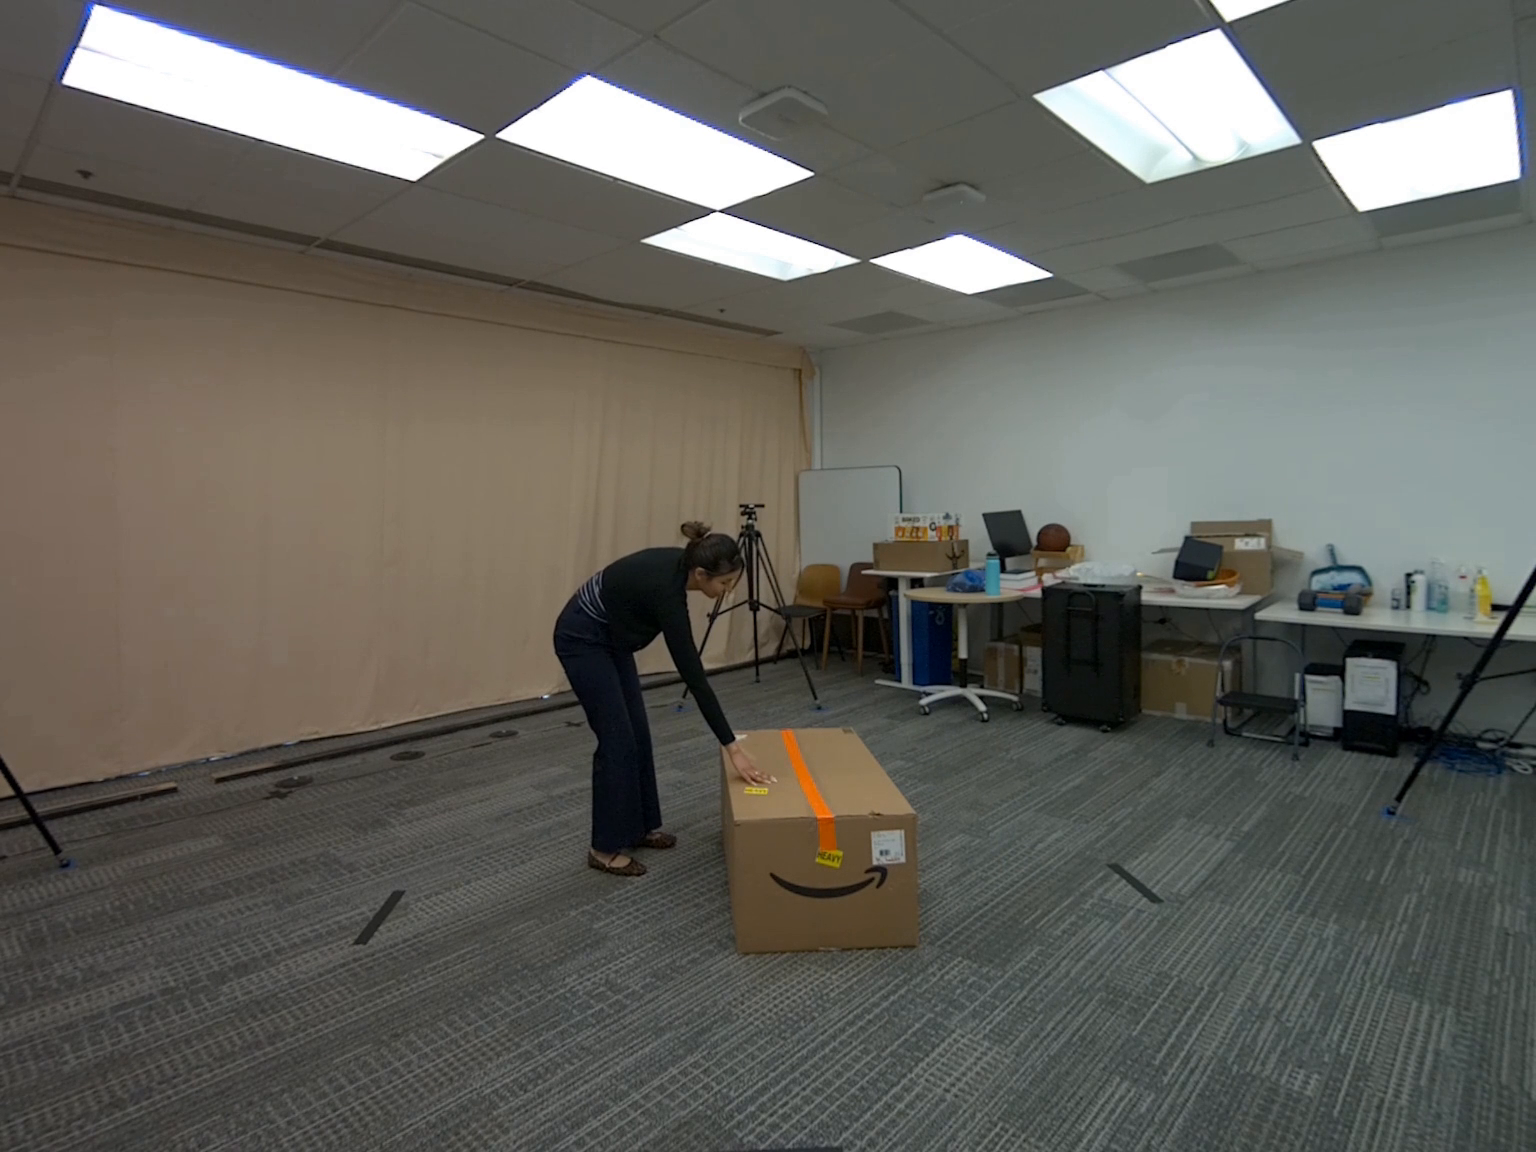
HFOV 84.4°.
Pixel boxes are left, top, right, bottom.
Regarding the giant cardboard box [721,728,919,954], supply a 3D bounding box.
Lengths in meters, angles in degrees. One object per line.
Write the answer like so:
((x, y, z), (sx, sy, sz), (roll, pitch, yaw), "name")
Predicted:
((0.141, 0.911, 3.115), (0.575, 0.425, 1.033), (-2, 5, -5), "giant cardboard box")
